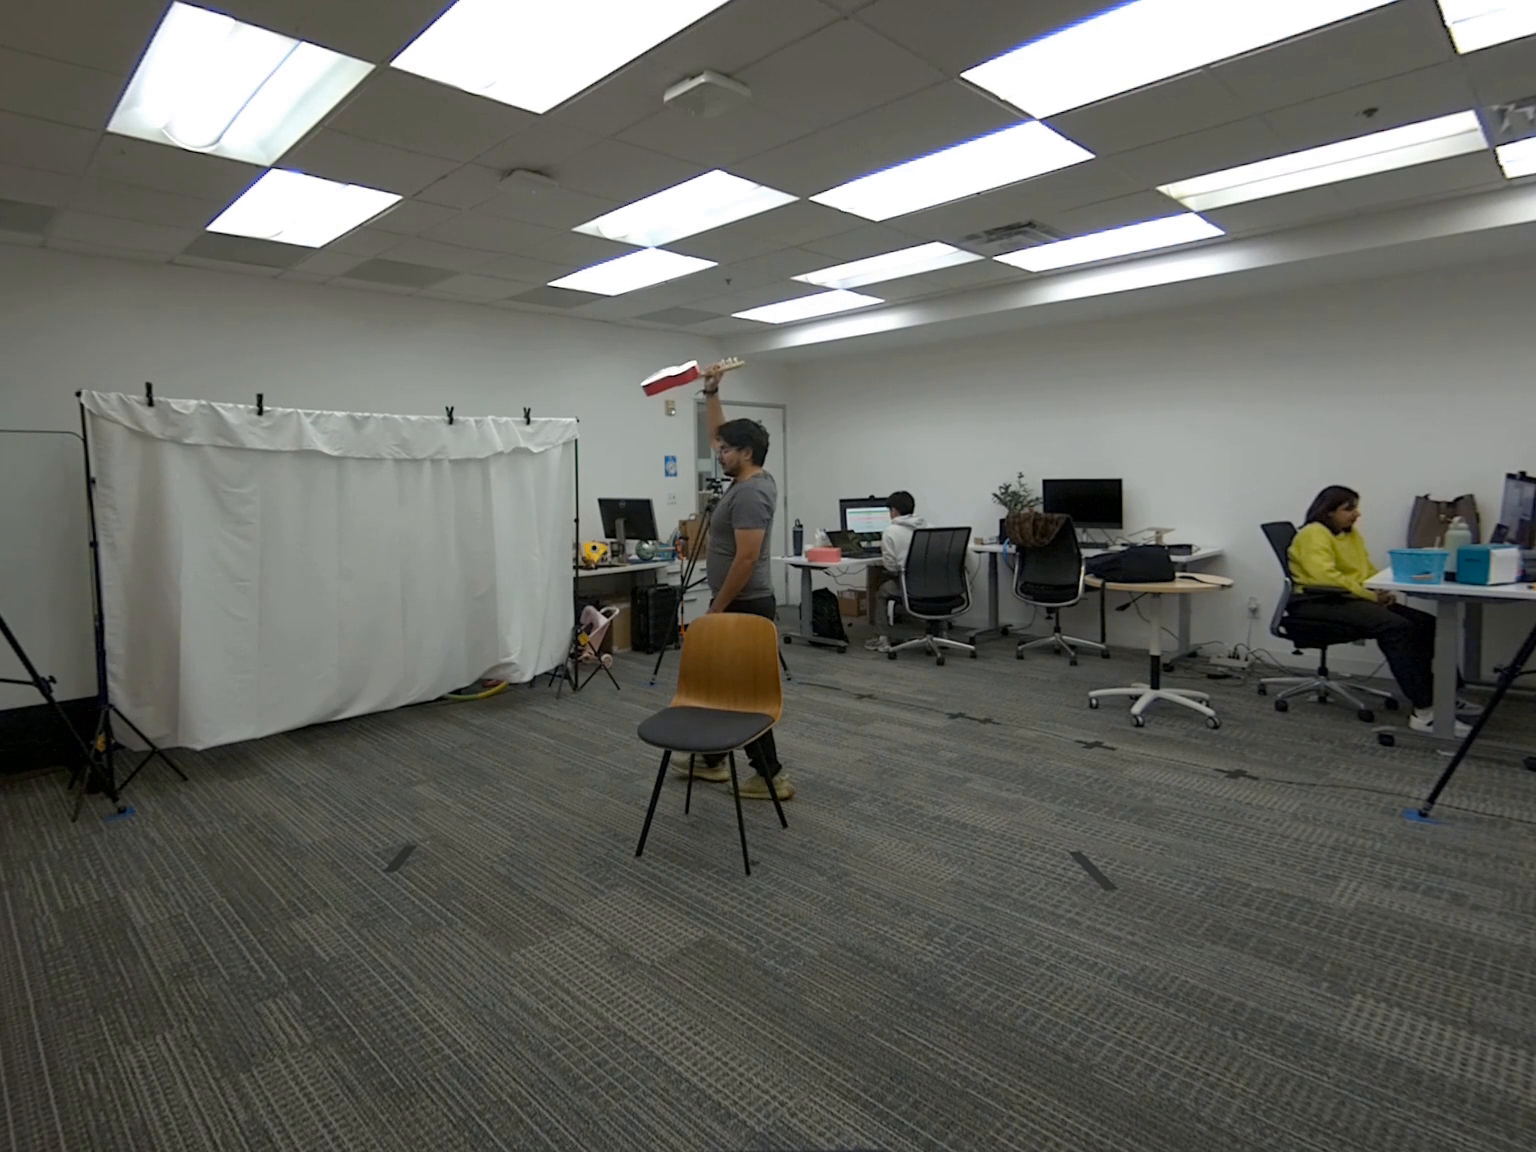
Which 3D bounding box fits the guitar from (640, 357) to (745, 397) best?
[{"bbox_3d":[-0.330,-0.922,3.834,0.505,0.069,0.195,-13,26,22],"label":"guitar"}]
